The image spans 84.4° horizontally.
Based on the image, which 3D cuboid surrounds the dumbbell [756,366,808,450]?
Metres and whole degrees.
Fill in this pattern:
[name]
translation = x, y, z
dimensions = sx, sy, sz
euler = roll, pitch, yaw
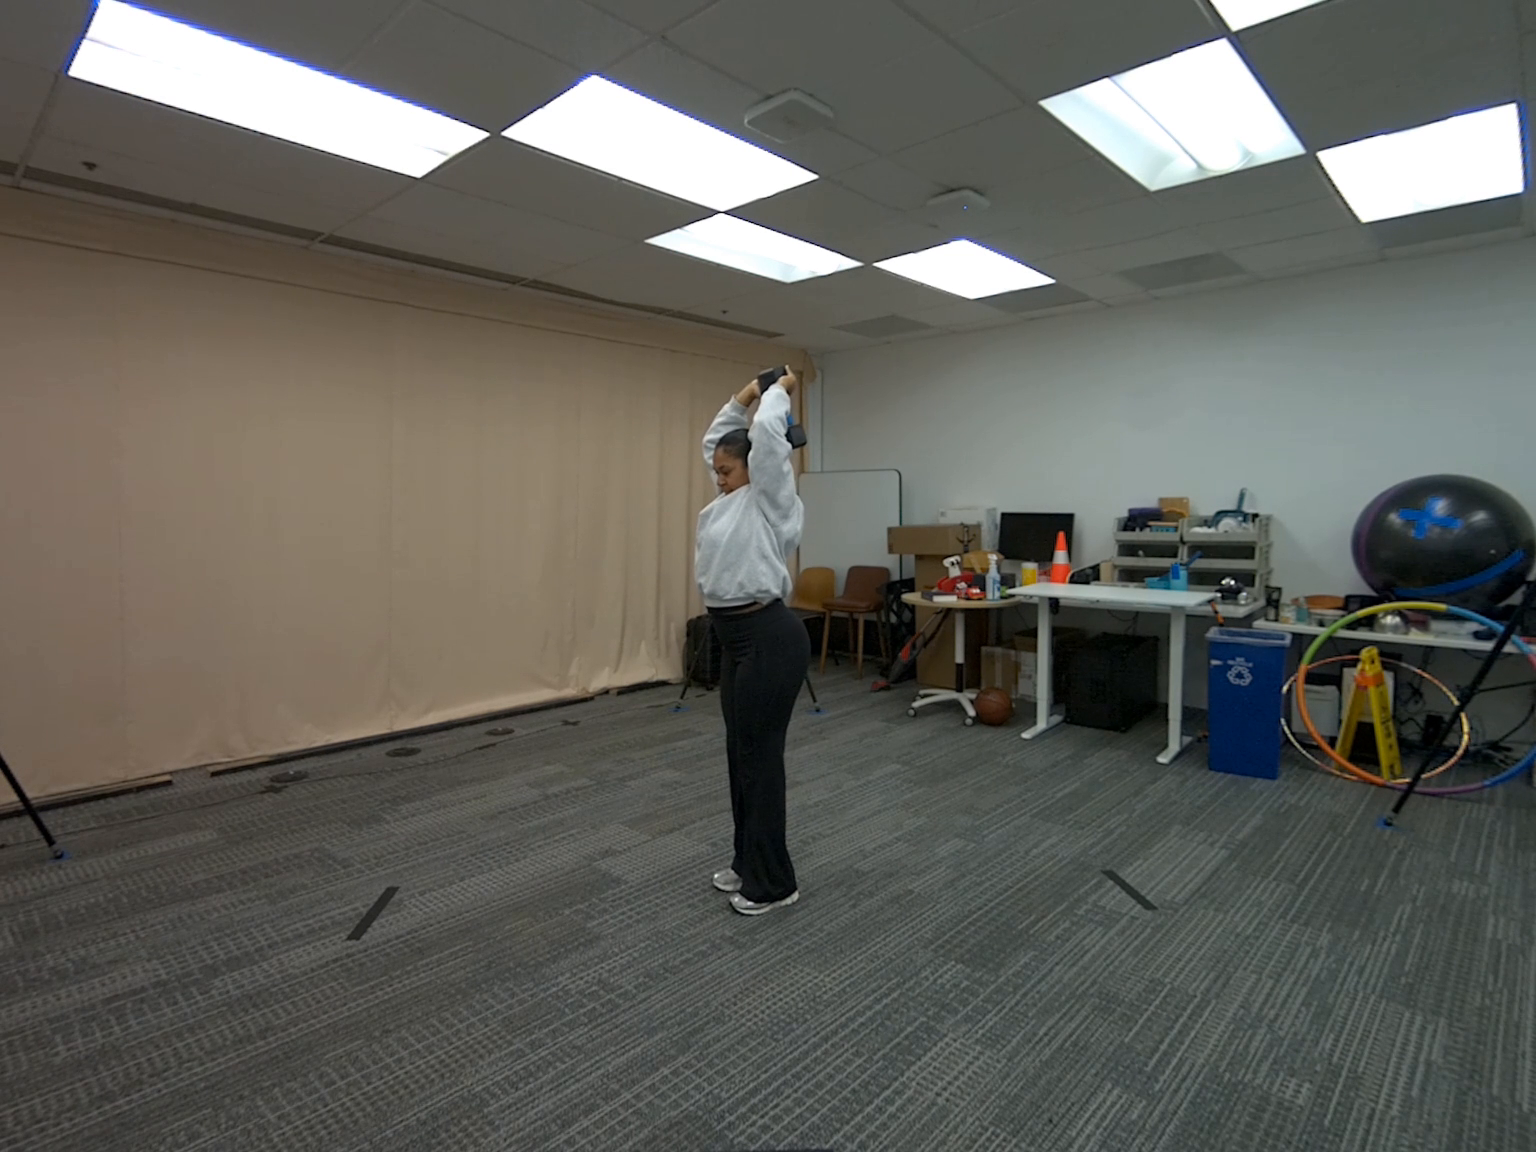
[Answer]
[dumbbell]
translation = 0.051, -0.587, 2.992
dimensions = 0.125, 0.293, 0.107
euler = -16, 2, 26
